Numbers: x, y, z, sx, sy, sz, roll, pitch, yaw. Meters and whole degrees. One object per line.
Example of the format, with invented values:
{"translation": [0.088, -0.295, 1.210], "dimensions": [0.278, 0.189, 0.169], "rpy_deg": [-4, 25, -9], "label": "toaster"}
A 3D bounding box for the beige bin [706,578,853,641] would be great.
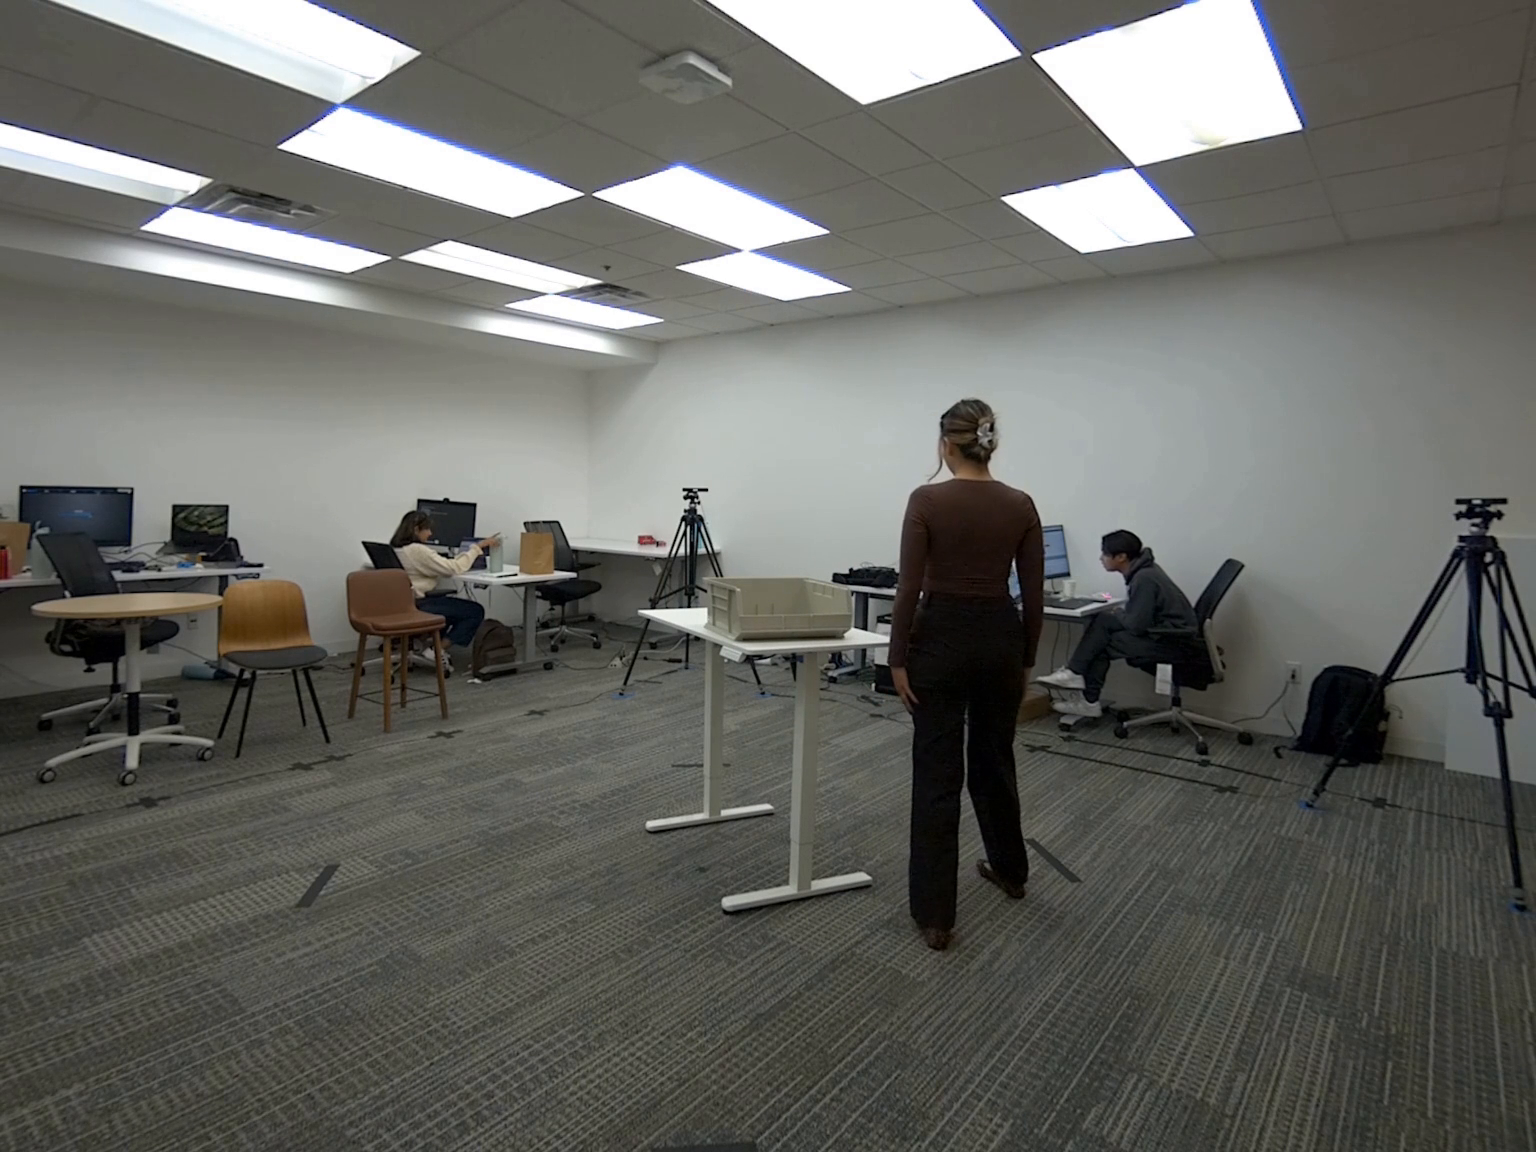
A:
{"translation": [0.020, 0.111, 2.993], "dimensions": [0.413, 0.188, 0.386], "rpy_deg": [-1, 4, -22], "label": "beige bin"}
